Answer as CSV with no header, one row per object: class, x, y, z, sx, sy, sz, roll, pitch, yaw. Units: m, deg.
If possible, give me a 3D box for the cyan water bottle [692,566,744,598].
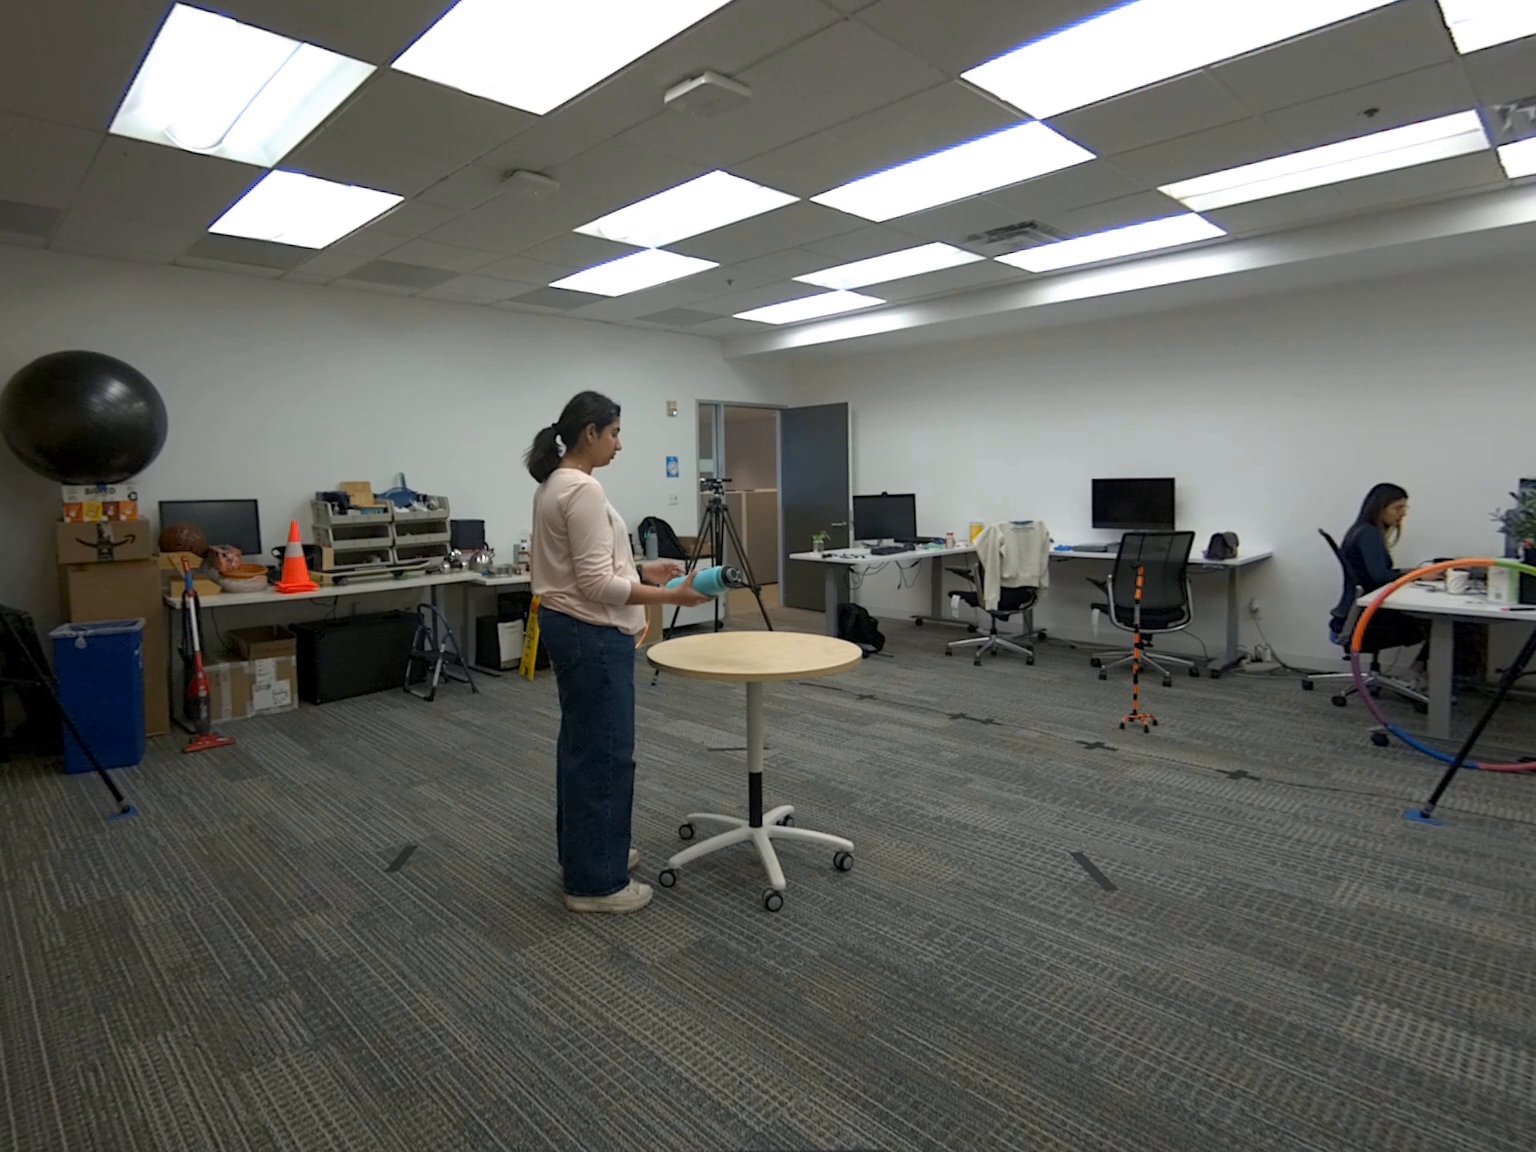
cyan water bottle,-0.214,0.027,2.822,0.289,0.093,0.090,-16,-5,36
